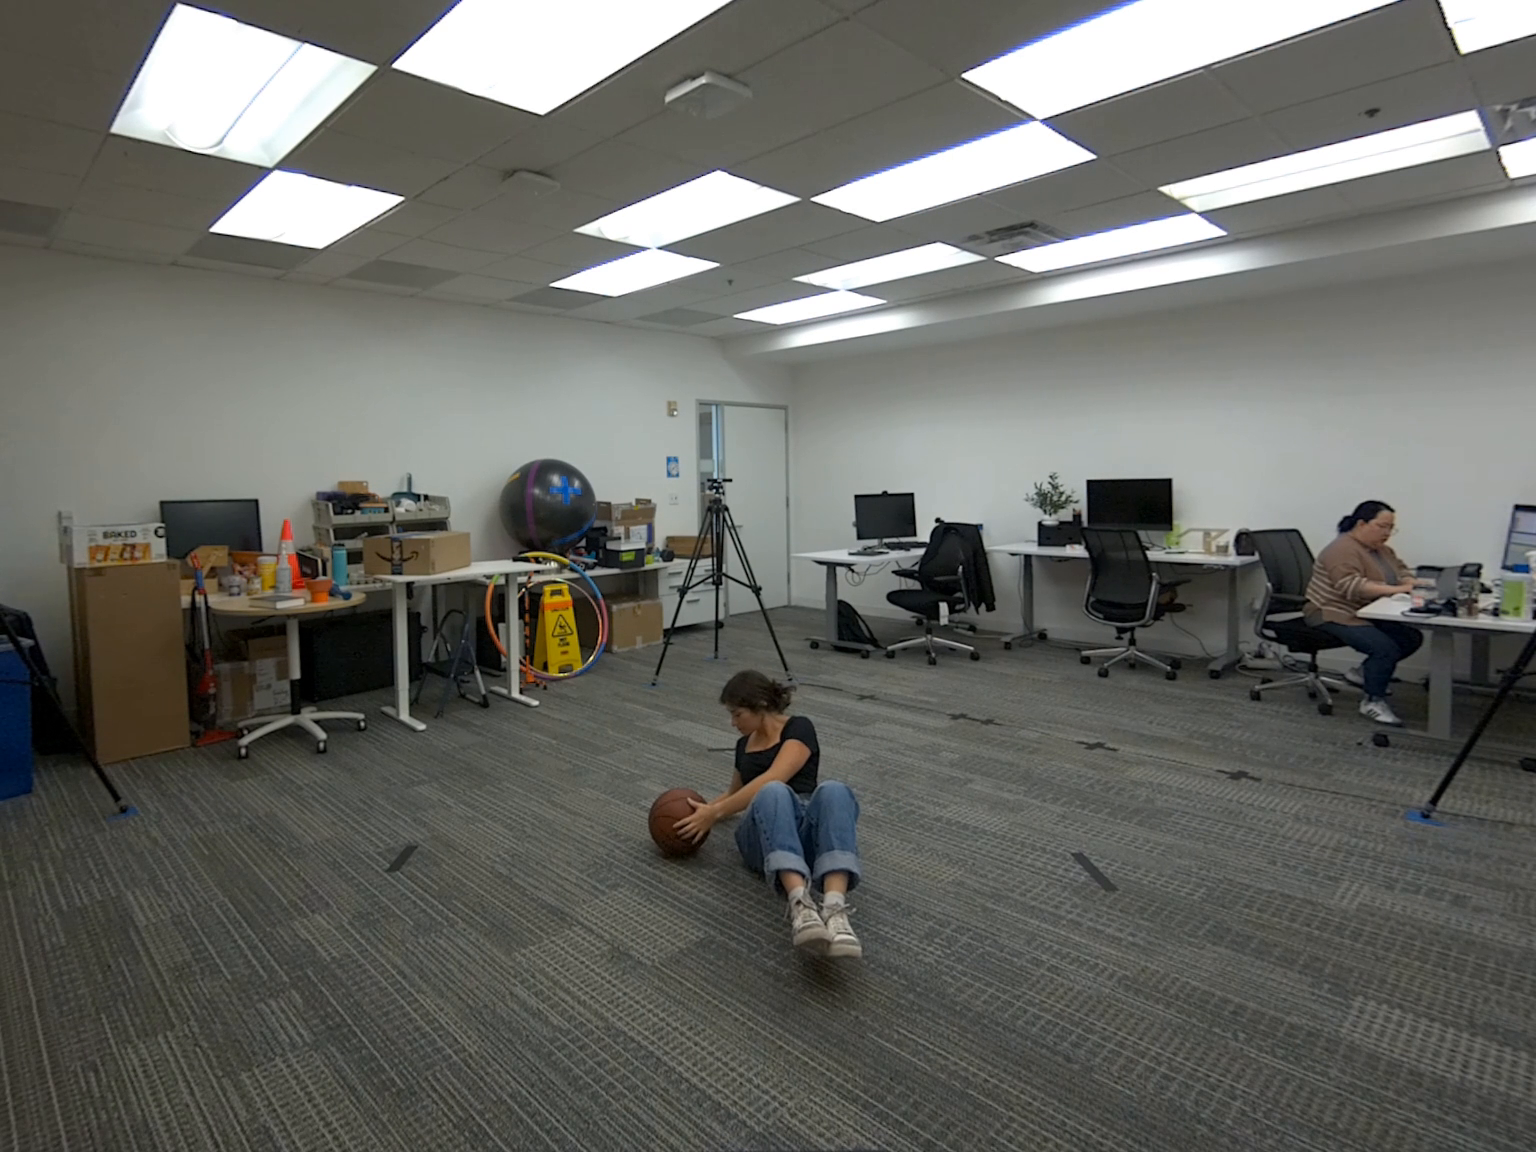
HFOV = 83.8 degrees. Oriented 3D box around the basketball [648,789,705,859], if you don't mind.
[{"bbox_3d":[-0.329,0.916,3.200,0.236,0.235,0.237,-1,5,-2],"label":"basketball"}]
